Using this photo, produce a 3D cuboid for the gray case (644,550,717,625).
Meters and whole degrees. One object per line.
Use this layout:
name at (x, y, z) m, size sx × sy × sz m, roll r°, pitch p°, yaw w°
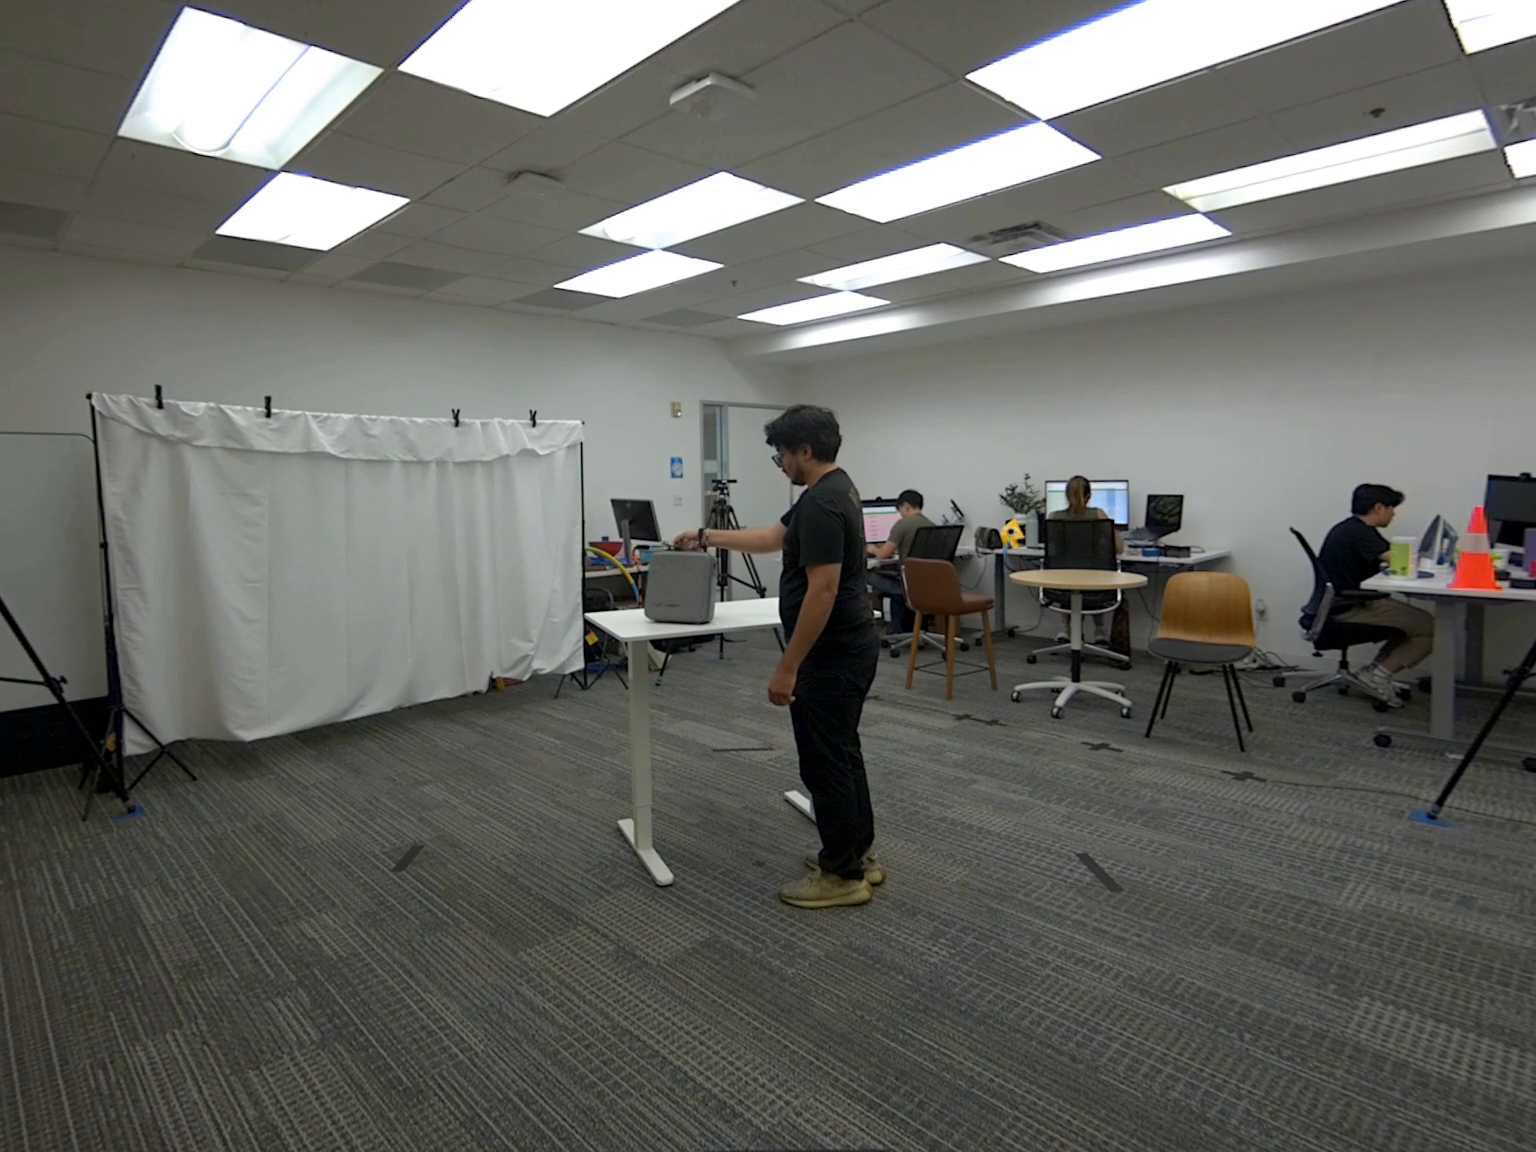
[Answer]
gray case at (-0.317, 0.037, 3.127) m, size 0.262 × 0.262 × 0.101 m, roll 2°, pitch -8°, yaw 22°
